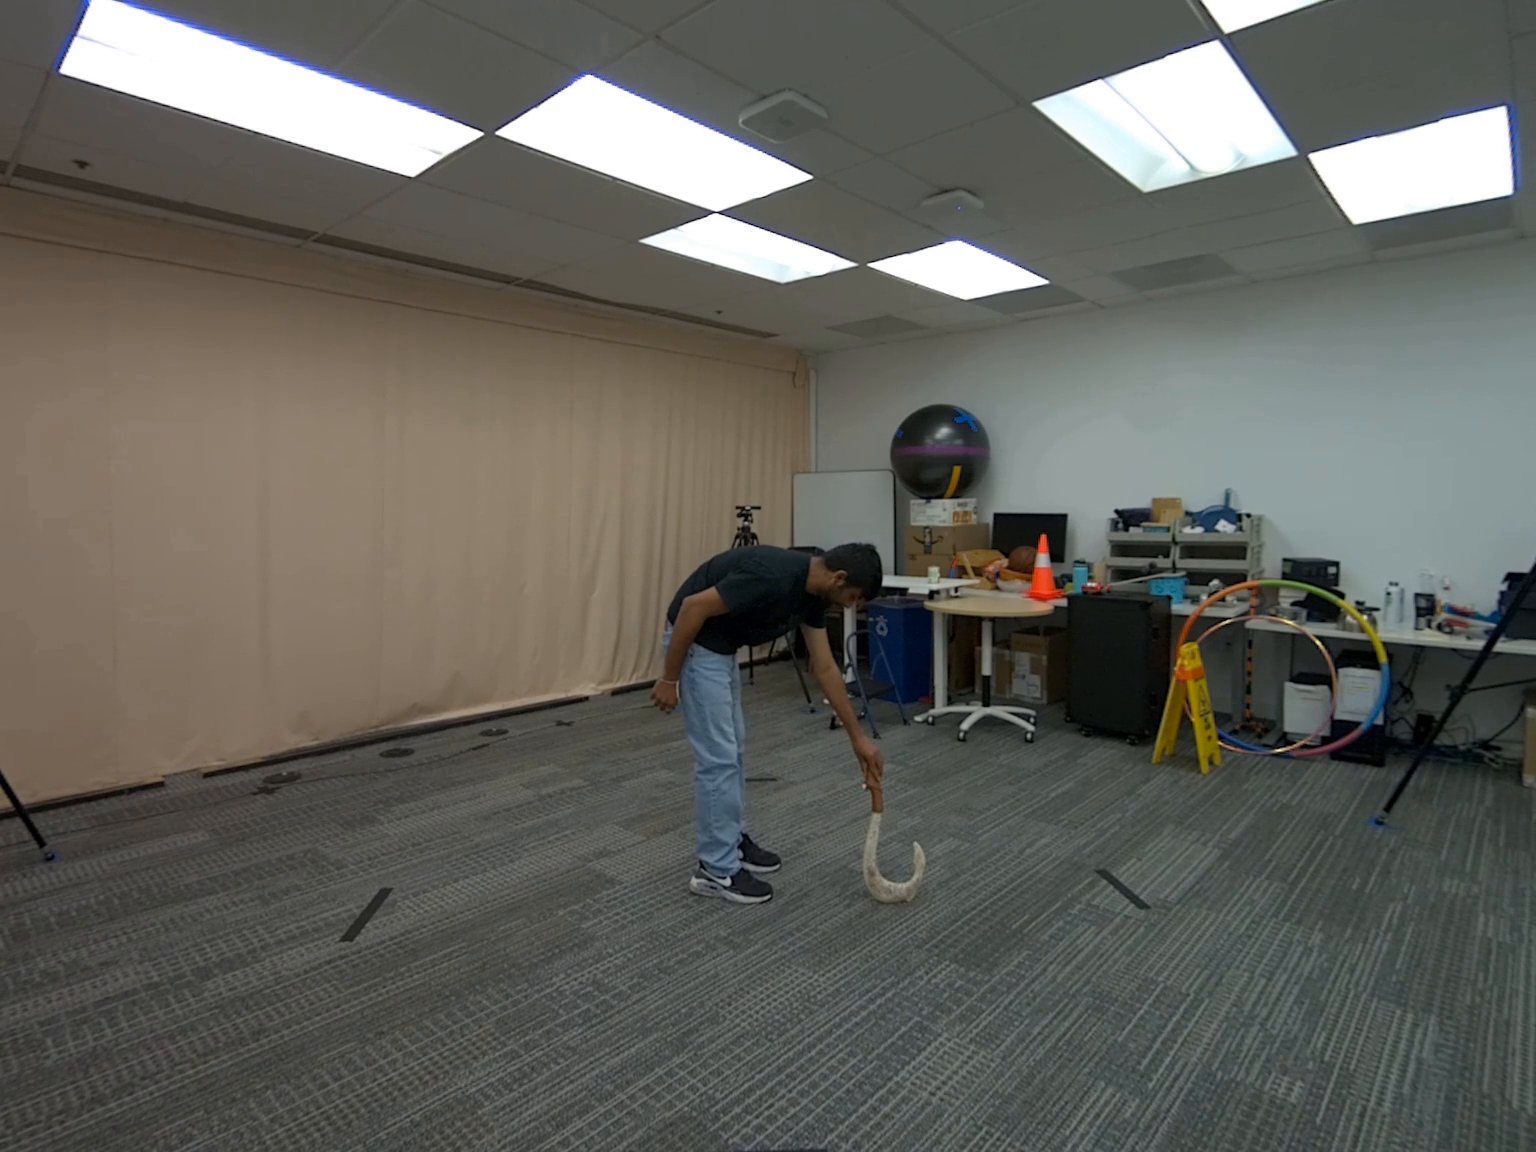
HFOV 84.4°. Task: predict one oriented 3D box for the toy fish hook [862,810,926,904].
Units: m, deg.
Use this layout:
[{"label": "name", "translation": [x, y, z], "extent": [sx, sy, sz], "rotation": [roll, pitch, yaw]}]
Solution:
[{"label": "toy fish hook", "translation": [0.447, 0.897, 3.006], "extent": [0.222, 0.510, 0.048], "rotation": [0, -11, -11]}]
